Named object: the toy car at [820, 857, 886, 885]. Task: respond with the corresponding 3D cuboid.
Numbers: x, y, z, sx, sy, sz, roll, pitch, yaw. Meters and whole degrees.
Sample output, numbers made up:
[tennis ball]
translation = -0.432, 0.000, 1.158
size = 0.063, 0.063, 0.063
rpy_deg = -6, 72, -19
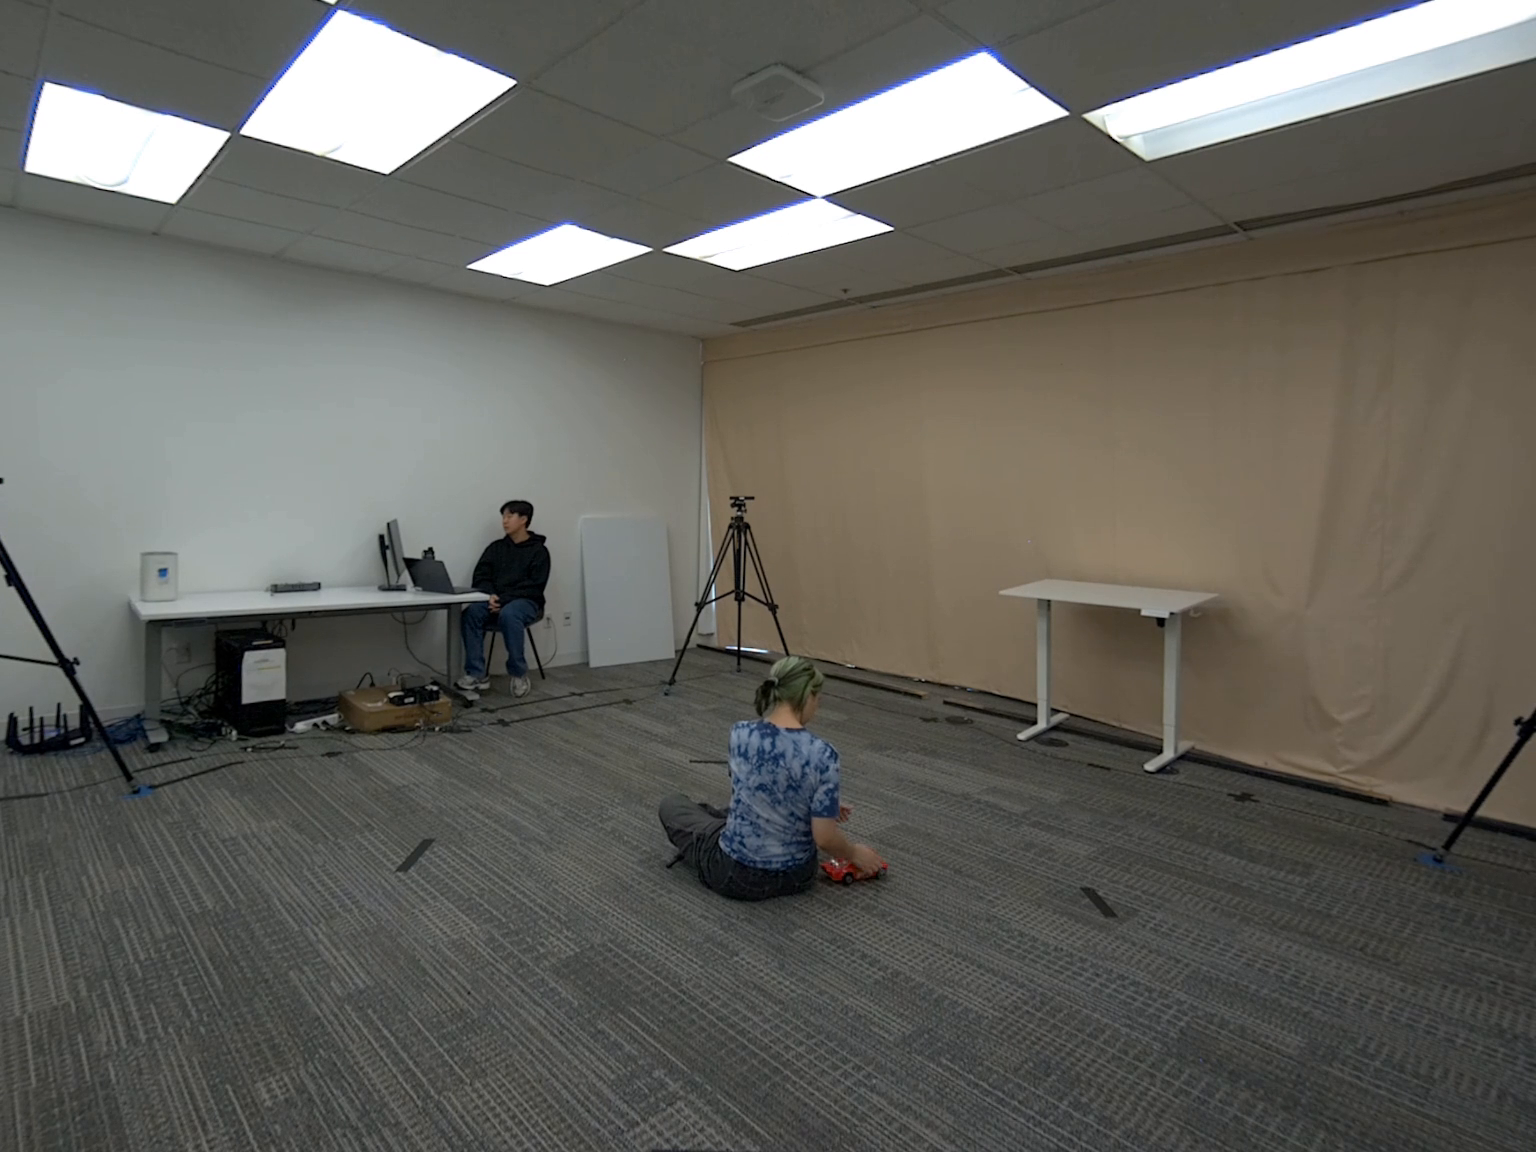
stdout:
[toy car]
translation = 0.305, 1.080, 3.107
size = 0.250, 0.083, 0.133
rpy_deg = 10, 2, -22
